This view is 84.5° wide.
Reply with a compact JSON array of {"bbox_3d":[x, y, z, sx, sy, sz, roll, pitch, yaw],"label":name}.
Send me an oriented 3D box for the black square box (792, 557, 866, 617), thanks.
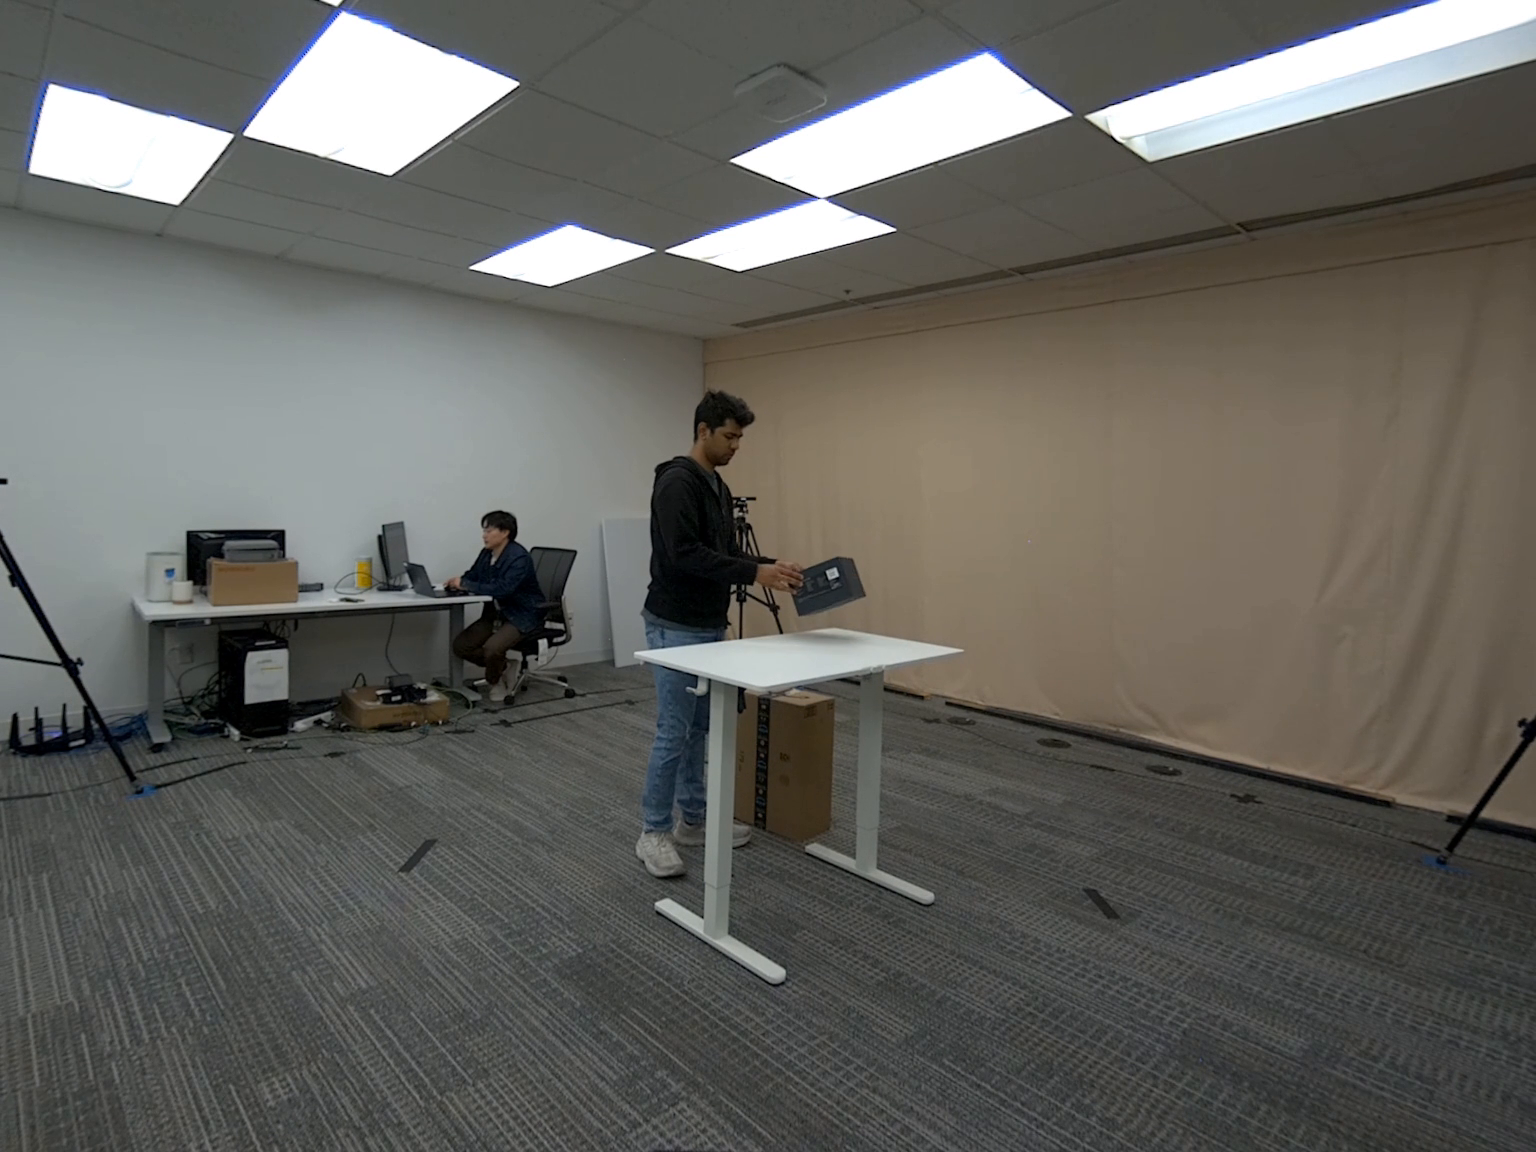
[{"bbox_3d":[0.198,0.039,3.143,0.219,0.157,0.224,-15,-7,18],"label":"black square box"}]
